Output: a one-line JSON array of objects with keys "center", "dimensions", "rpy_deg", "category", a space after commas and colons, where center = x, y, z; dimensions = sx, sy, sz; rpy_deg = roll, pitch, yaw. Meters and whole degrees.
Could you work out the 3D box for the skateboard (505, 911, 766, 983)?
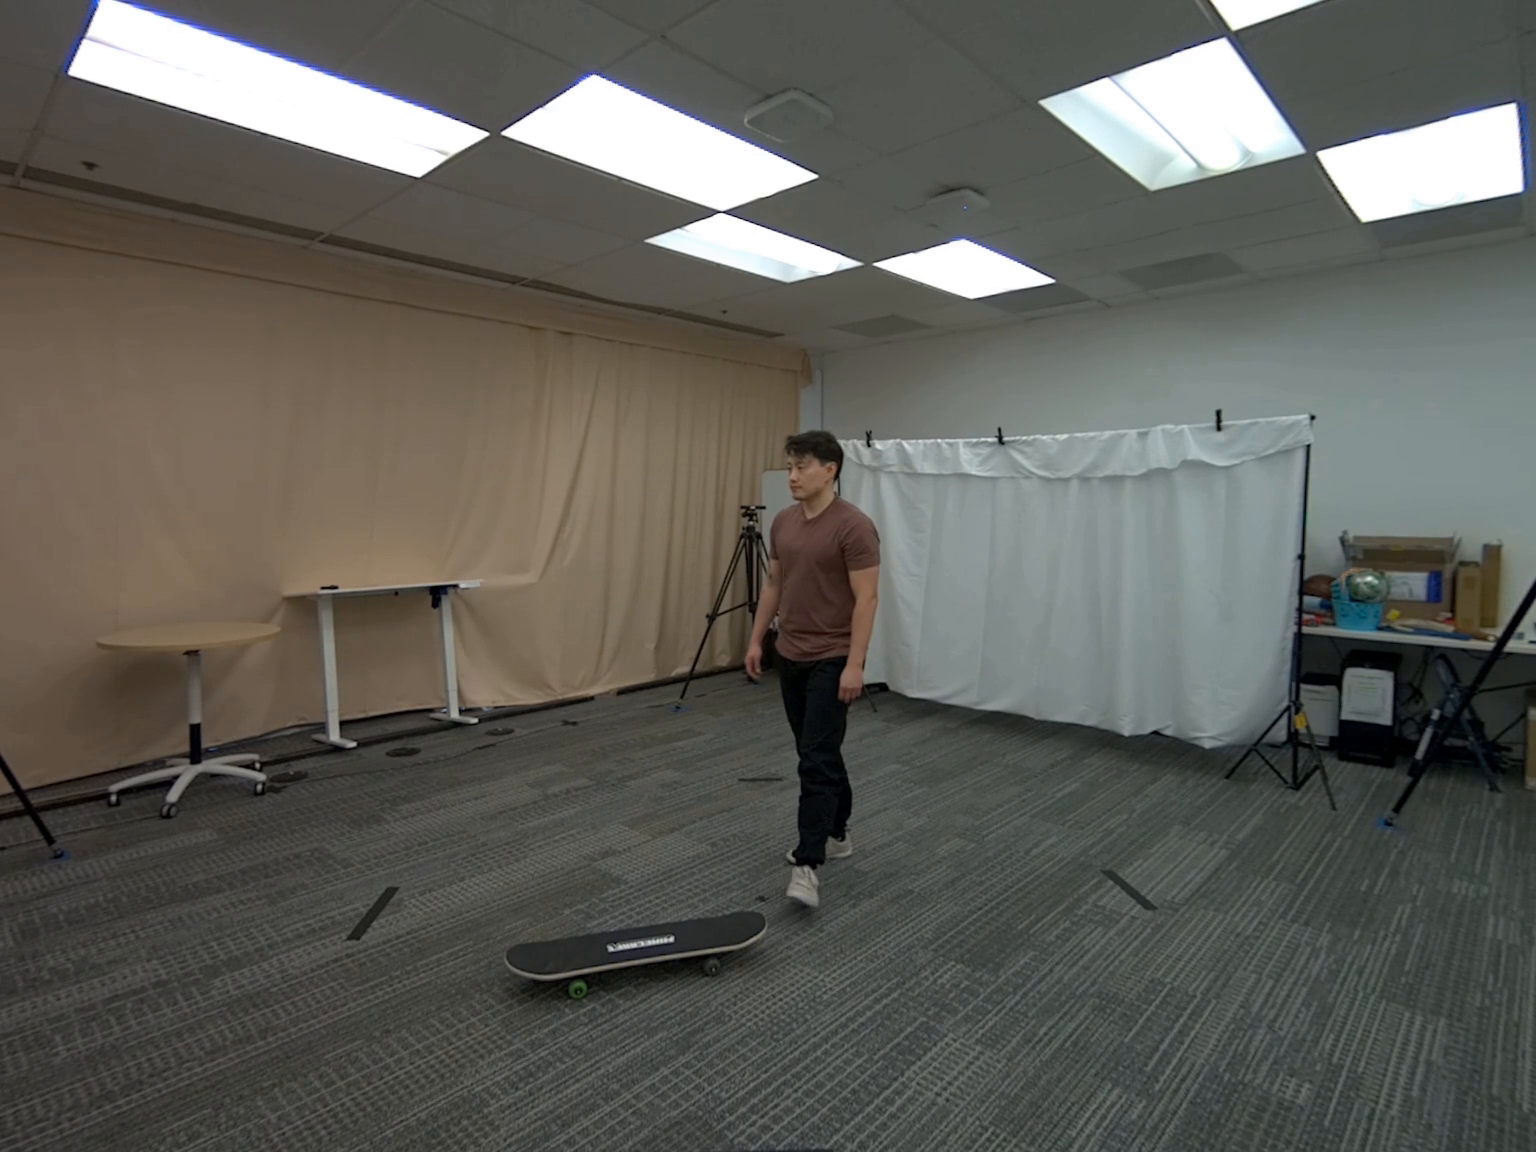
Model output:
[{"center": [-0.380, 1.134, 2.507], "dimensions": [0.773, 0.110, 0.197], "rpy_deg": [-2, 5, -15], "category": "skateboard"}]
